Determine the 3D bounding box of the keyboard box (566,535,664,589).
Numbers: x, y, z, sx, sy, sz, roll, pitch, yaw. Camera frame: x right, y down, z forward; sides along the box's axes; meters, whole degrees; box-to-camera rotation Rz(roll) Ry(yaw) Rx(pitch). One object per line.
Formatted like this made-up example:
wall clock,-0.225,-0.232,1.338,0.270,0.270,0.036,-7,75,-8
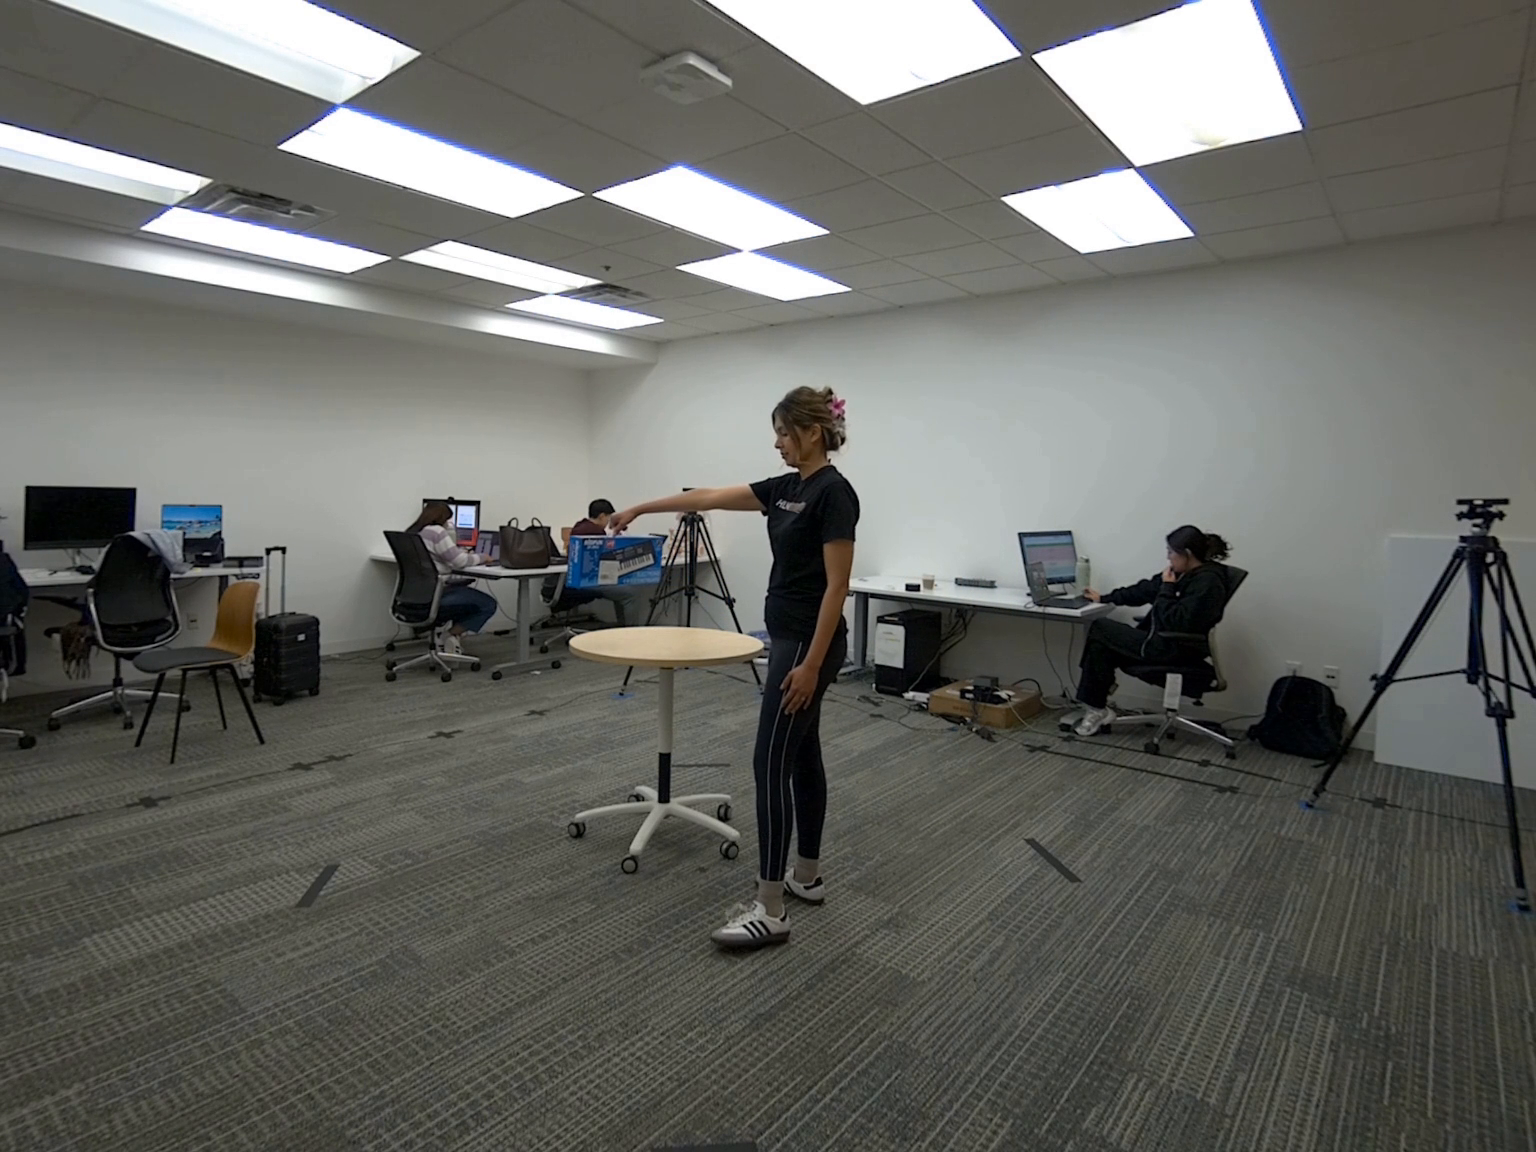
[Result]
keyboard box,-0.542,-0.053,3.007,0.061,0.175,0.425,5,5,31
